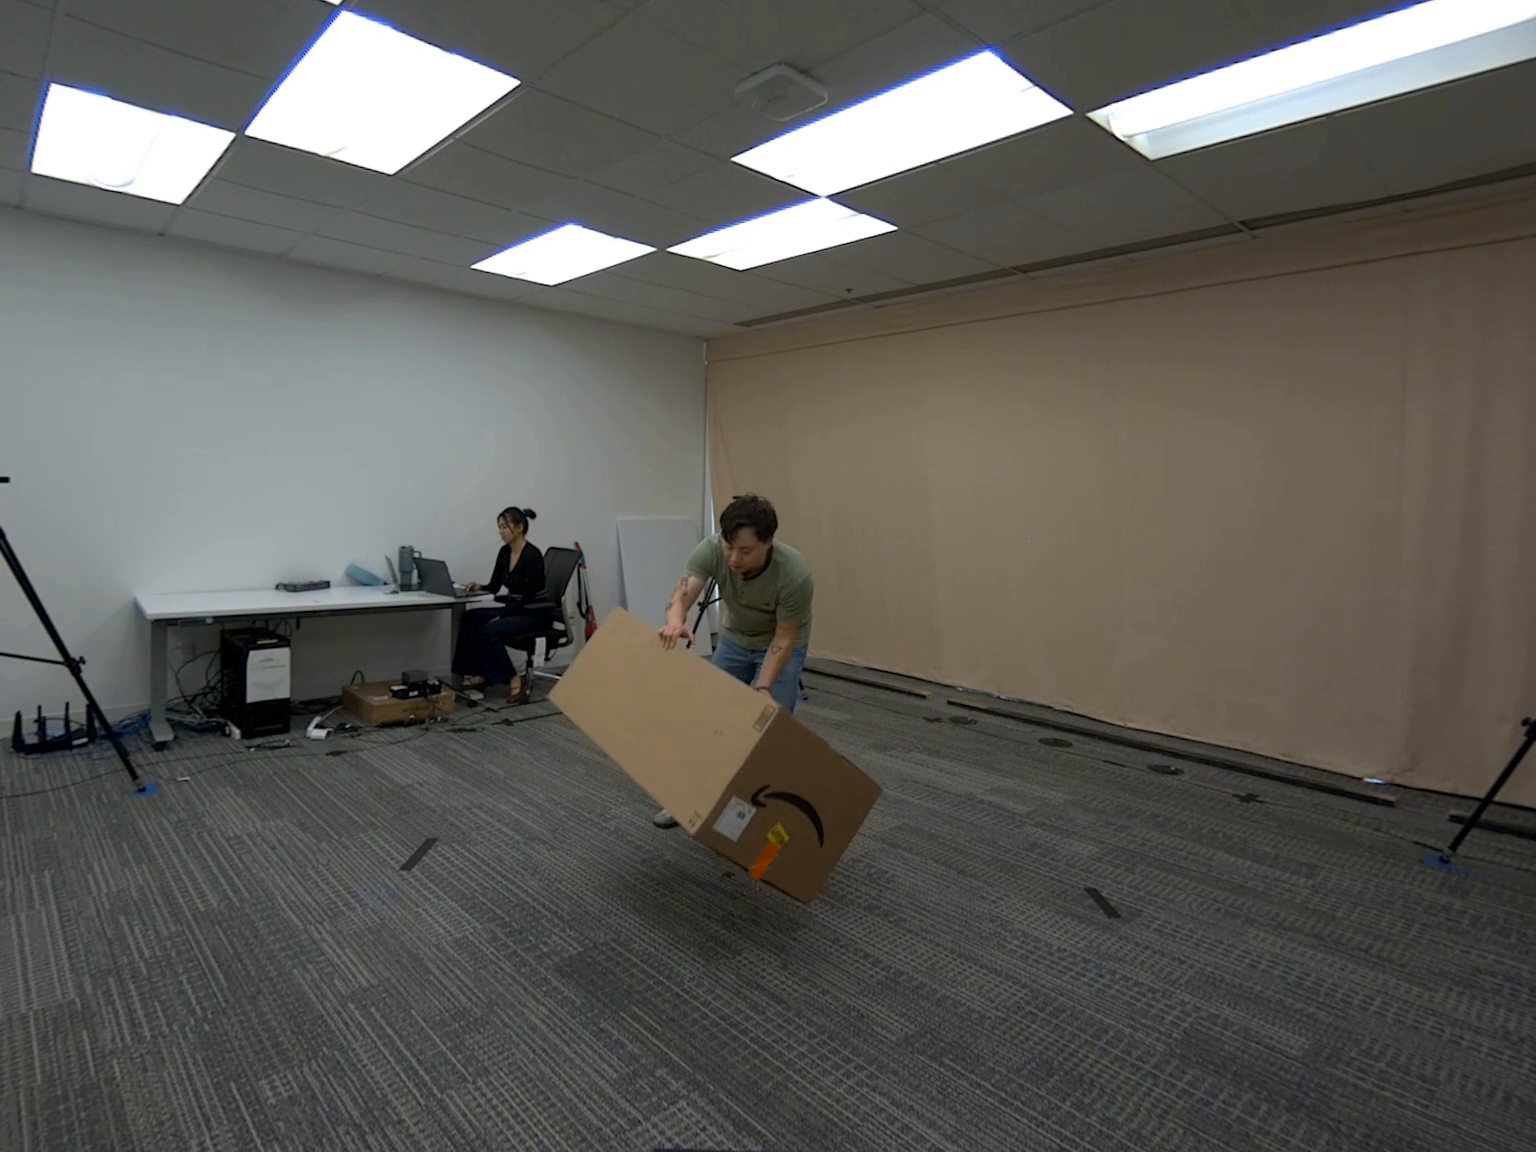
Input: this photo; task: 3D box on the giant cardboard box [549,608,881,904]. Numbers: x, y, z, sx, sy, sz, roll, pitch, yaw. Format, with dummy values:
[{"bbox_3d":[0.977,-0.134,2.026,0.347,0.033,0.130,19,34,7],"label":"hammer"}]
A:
[{"bbox_3d":[-0.227,0.554,2.842,0.560,0.427,1.056,43,-13,-36],"label":"giant cardboard box"}]
